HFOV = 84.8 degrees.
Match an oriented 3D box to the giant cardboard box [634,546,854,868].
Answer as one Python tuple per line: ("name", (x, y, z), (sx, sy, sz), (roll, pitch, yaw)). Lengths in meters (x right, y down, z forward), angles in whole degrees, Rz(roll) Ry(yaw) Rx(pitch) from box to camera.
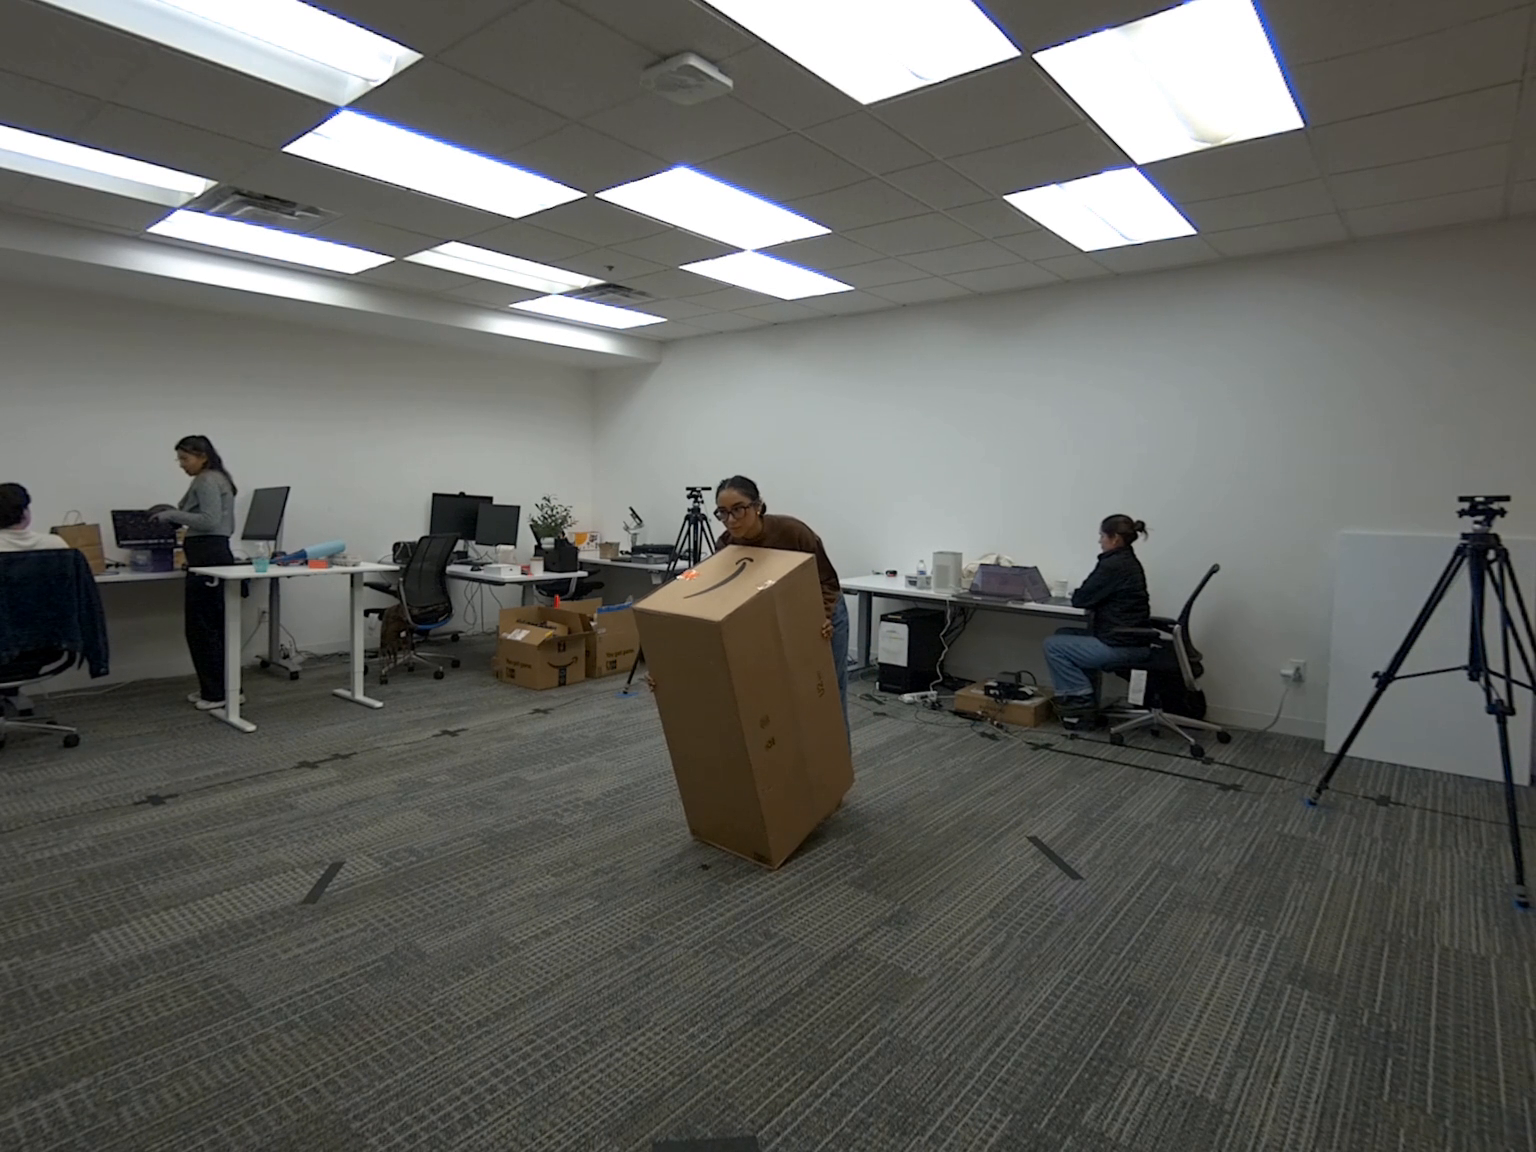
("giant cardboard box", (-0.081, 0.470, 3.259), (0.441, 1.004, 0.570), (6, 26, 39))
